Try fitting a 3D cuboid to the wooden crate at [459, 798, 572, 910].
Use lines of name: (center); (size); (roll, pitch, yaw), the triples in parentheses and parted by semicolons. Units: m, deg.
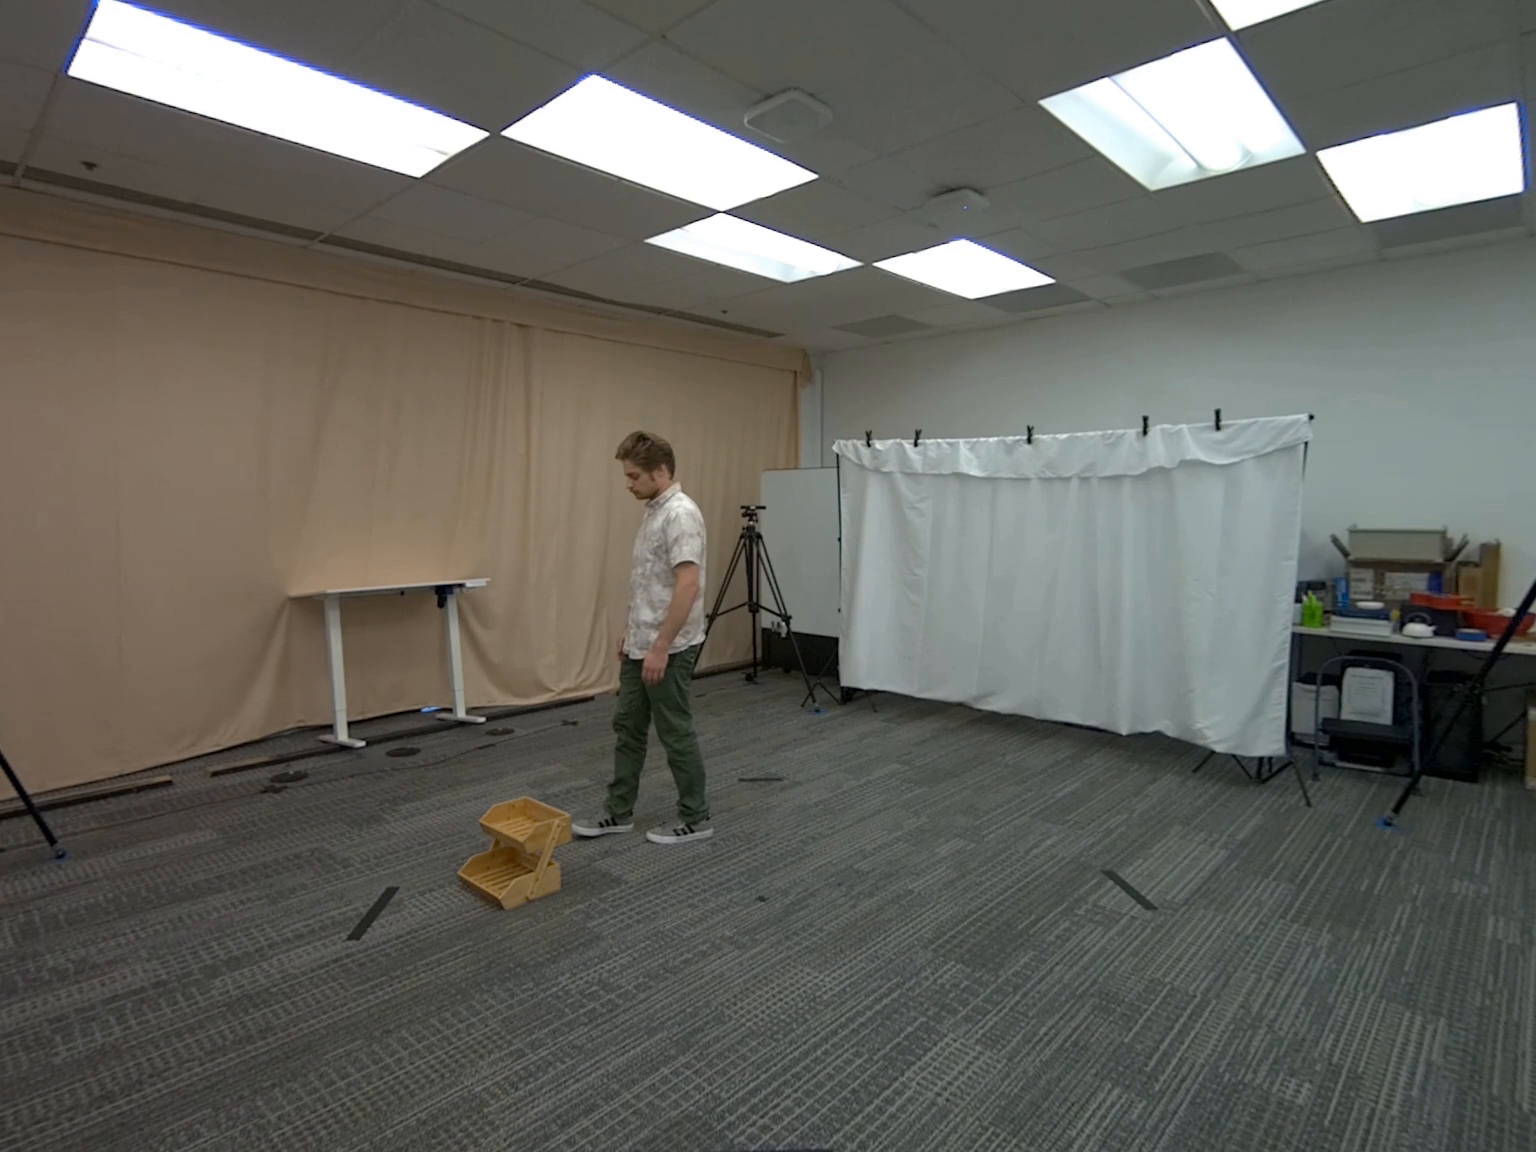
wooden crate: (-0.944, 1.011, 3.105); (0.335, 0.273, 0.292); (3, 4, 43)
